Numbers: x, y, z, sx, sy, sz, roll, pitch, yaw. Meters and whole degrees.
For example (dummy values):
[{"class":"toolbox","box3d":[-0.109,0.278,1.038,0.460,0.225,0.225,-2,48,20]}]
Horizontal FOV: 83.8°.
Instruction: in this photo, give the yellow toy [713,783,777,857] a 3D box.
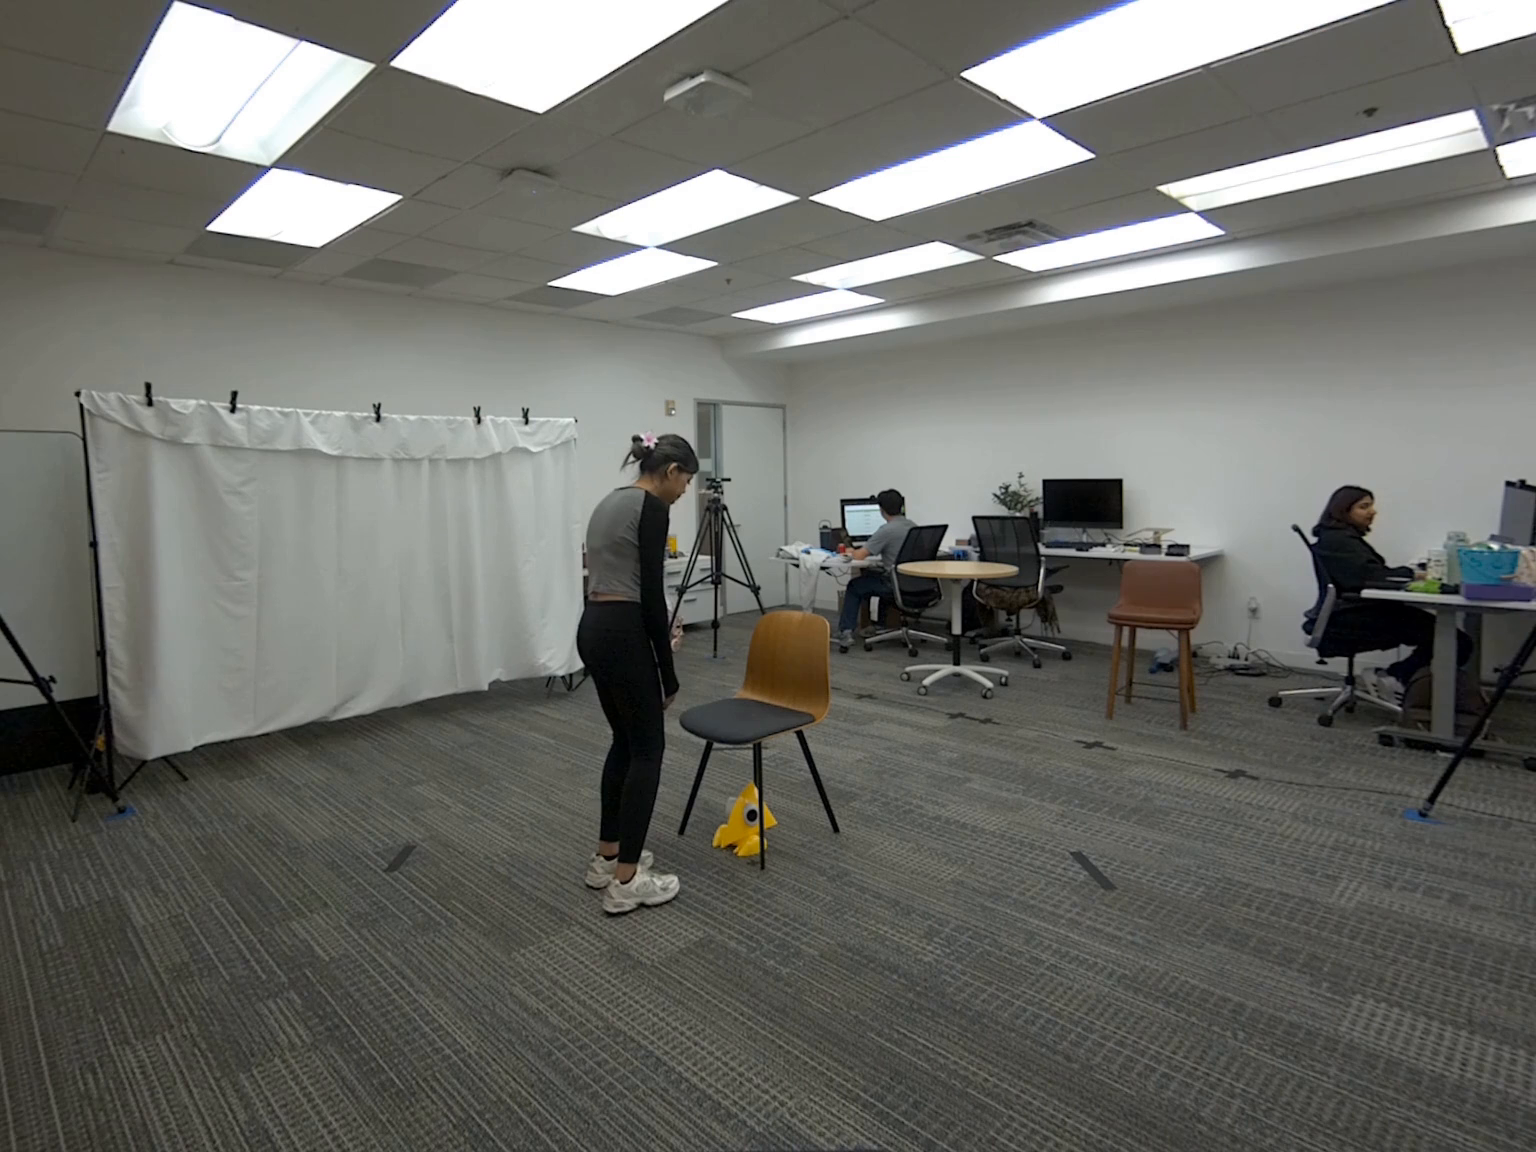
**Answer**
[{"class":"yellow toy","box3d":[-0.097,0.915,3.260,0.211,0.230,0.188,5,6,42]}]
